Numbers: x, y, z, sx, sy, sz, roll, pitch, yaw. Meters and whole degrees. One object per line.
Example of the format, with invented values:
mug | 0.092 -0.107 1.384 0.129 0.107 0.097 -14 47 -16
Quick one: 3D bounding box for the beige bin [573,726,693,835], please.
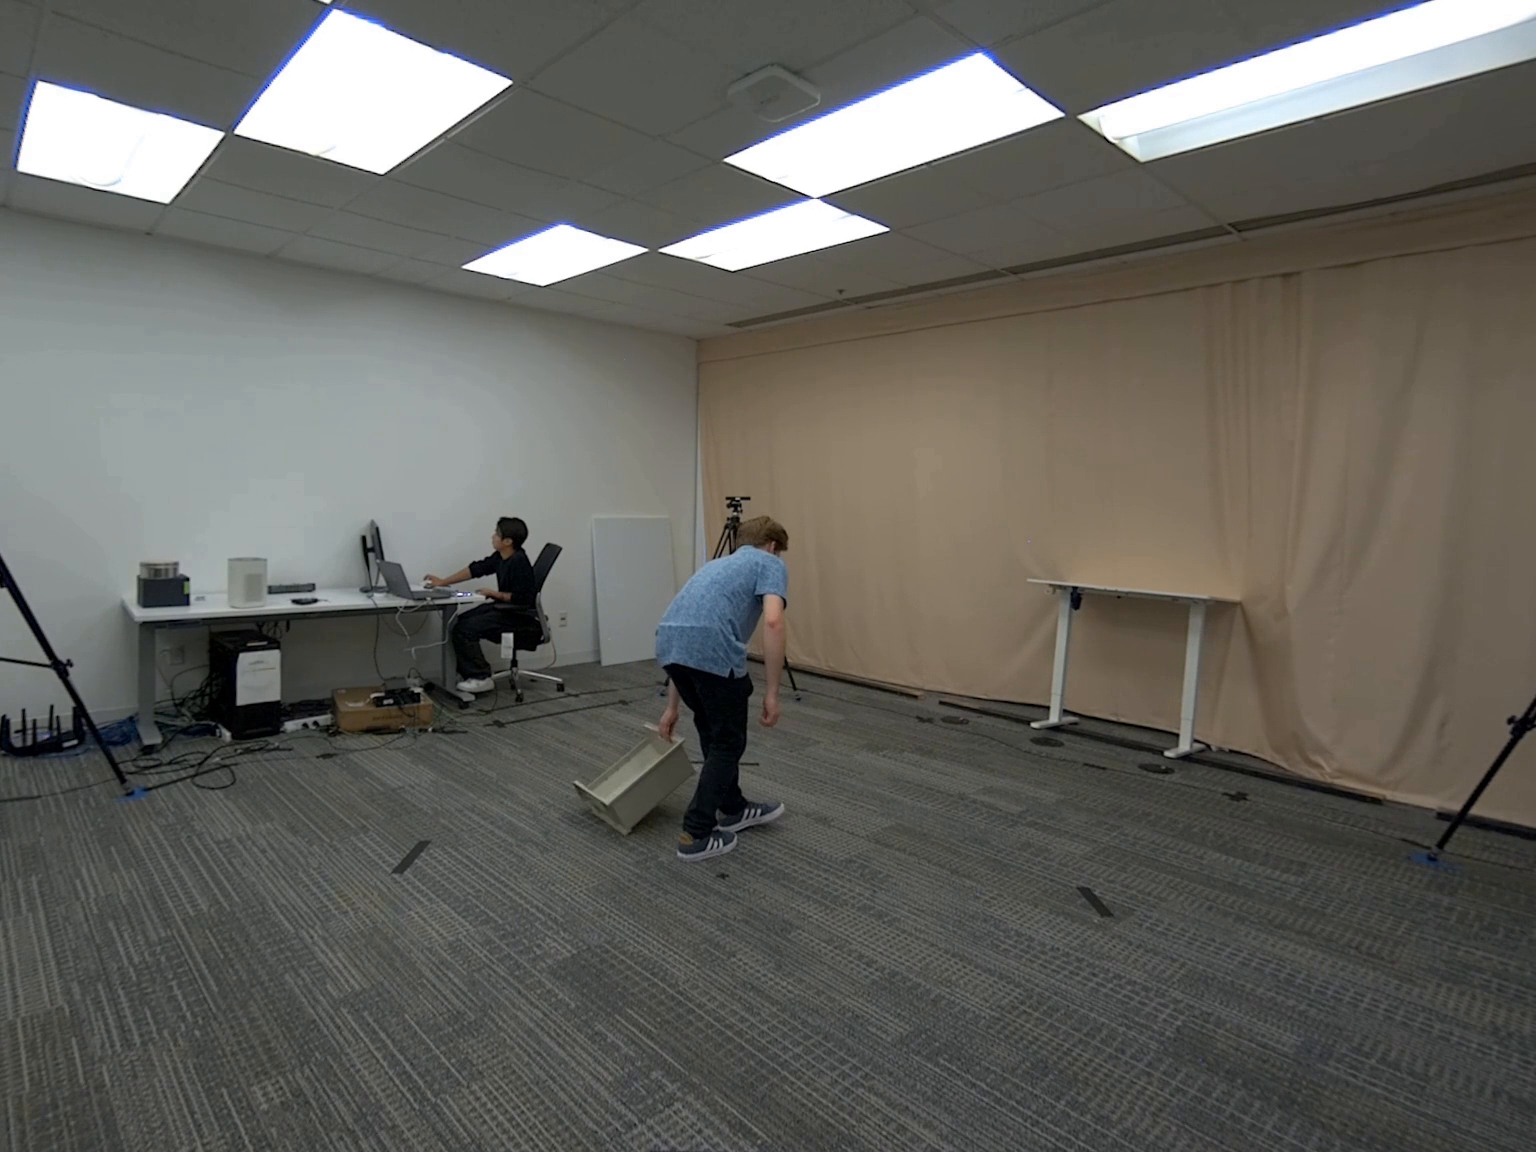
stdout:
beige bin | -0.588 0.863 3.658 0.420 0.185 0.387 -36 25 -29
